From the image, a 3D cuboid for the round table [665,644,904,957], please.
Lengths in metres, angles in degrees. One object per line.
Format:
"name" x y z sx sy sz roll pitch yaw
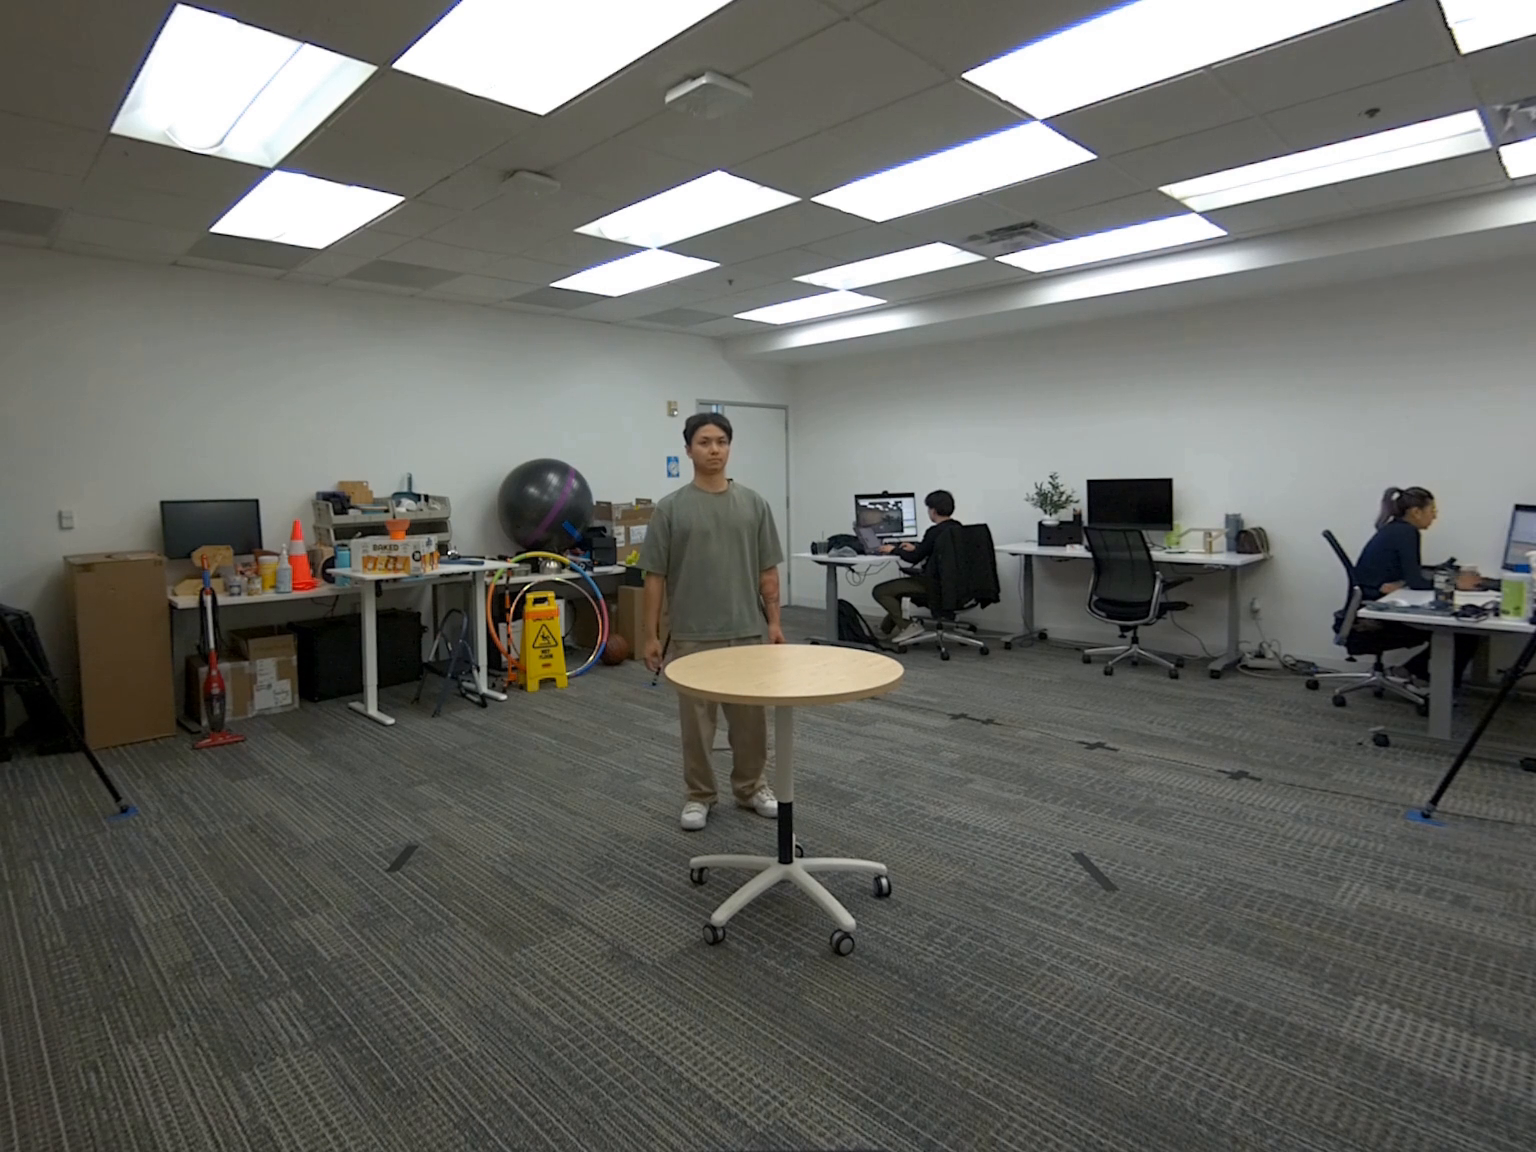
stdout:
"round table" 0.059 0.690 2.772 0.784 0.784 0.788 -2 4 -2
